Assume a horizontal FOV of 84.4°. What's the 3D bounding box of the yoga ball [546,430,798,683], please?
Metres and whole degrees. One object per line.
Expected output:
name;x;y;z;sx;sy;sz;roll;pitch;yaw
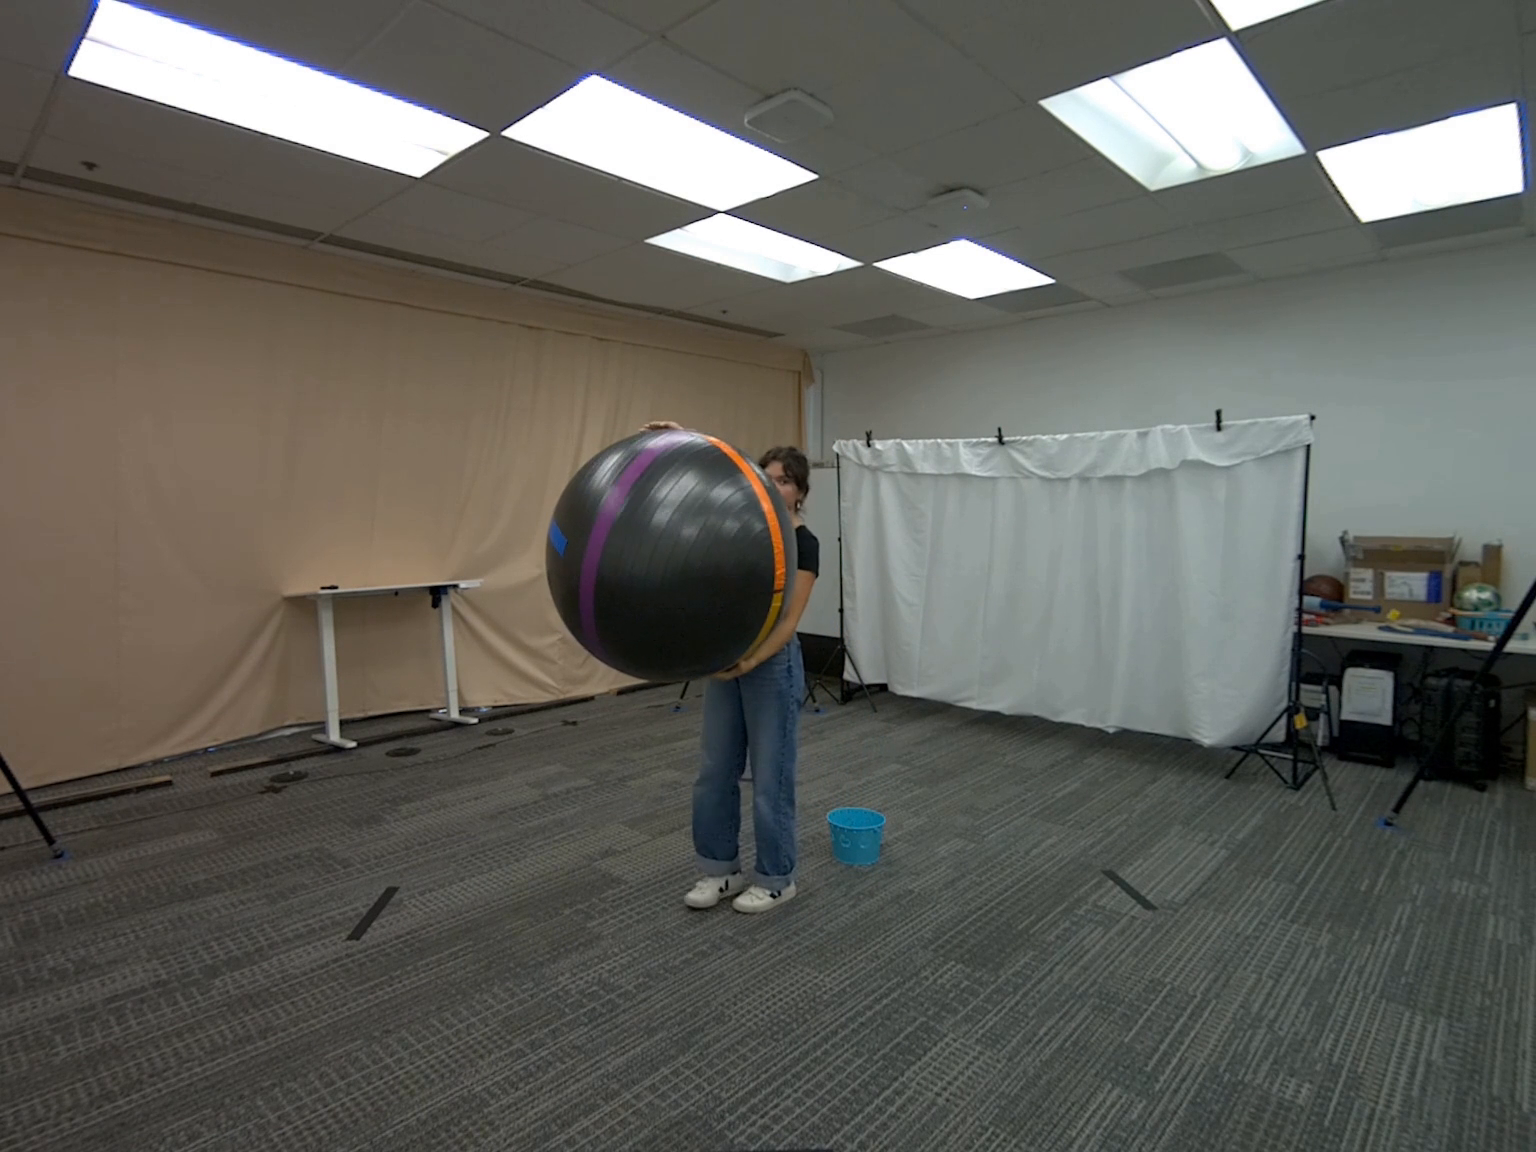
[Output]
yoga ball;-0.295;-0.062;2.548;0.757;0.756;0.760;0;4;-2
